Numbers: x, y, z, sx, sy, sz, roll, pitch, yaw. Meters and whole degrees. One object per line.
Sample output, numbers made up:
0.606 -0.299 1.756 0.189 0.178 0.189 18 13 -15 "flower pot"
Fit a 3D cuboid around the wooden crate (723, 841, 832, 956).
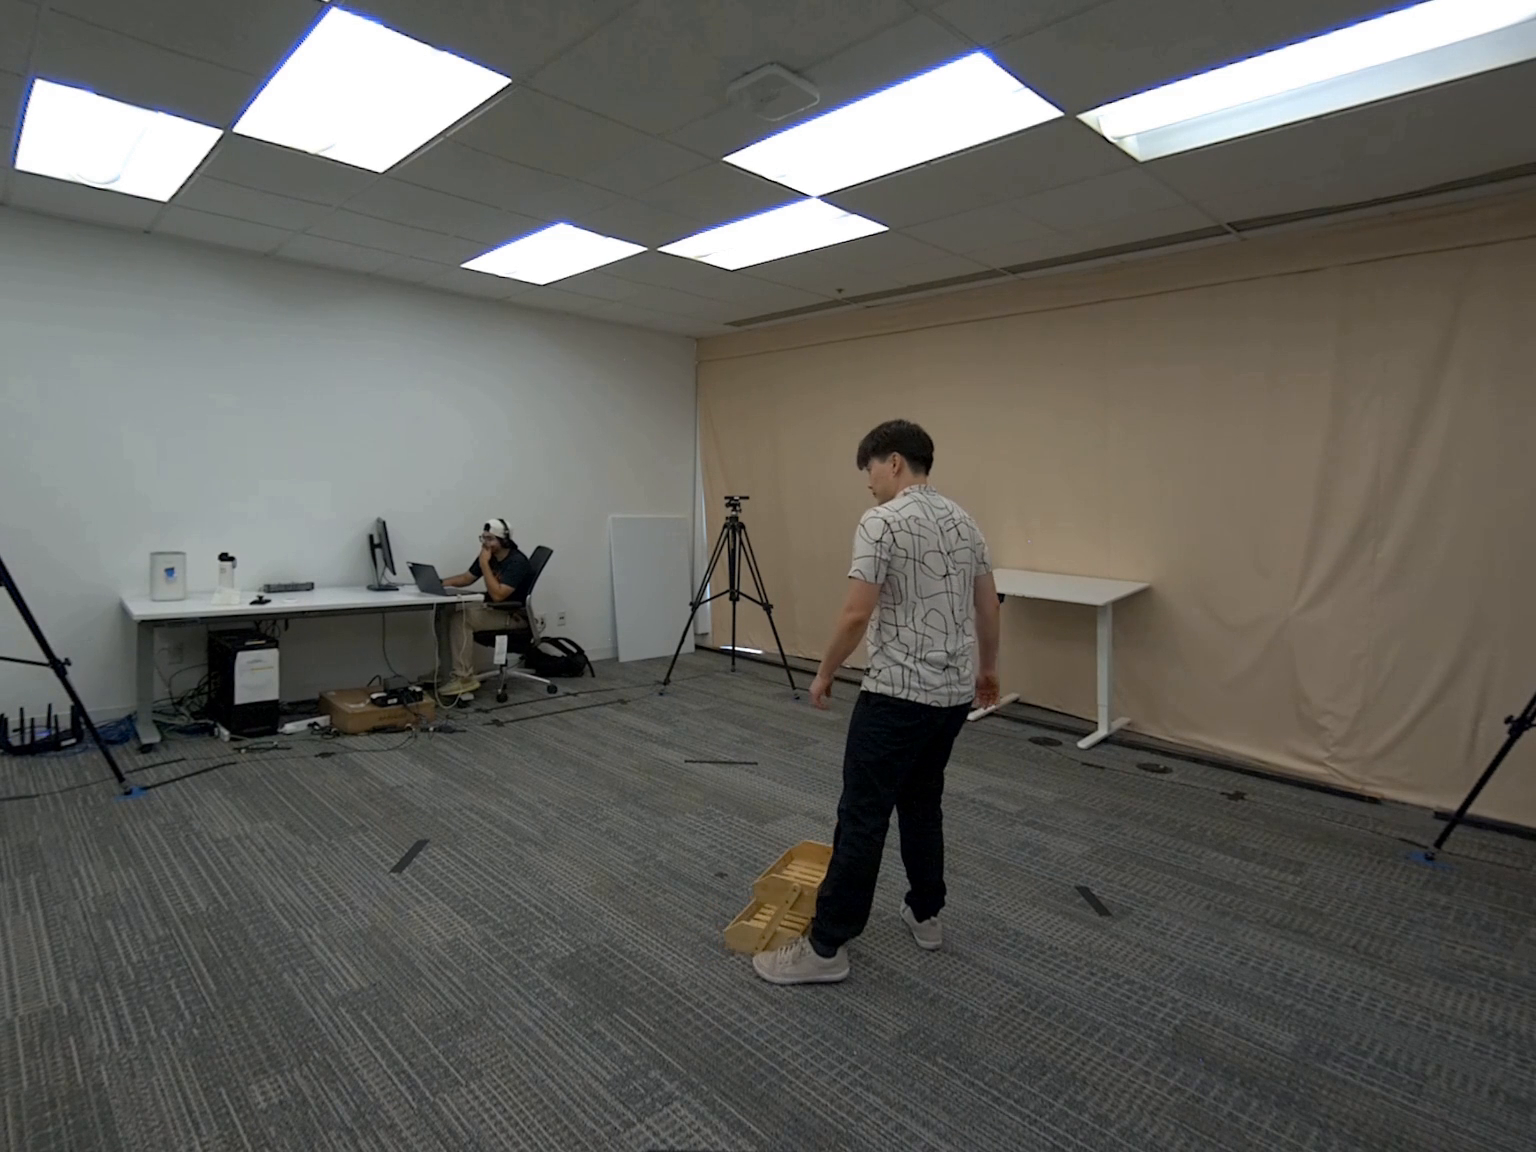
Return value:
0.056 1.014 2.673 0.308 0.272 0.319 5 6 24 "wooden crate"
